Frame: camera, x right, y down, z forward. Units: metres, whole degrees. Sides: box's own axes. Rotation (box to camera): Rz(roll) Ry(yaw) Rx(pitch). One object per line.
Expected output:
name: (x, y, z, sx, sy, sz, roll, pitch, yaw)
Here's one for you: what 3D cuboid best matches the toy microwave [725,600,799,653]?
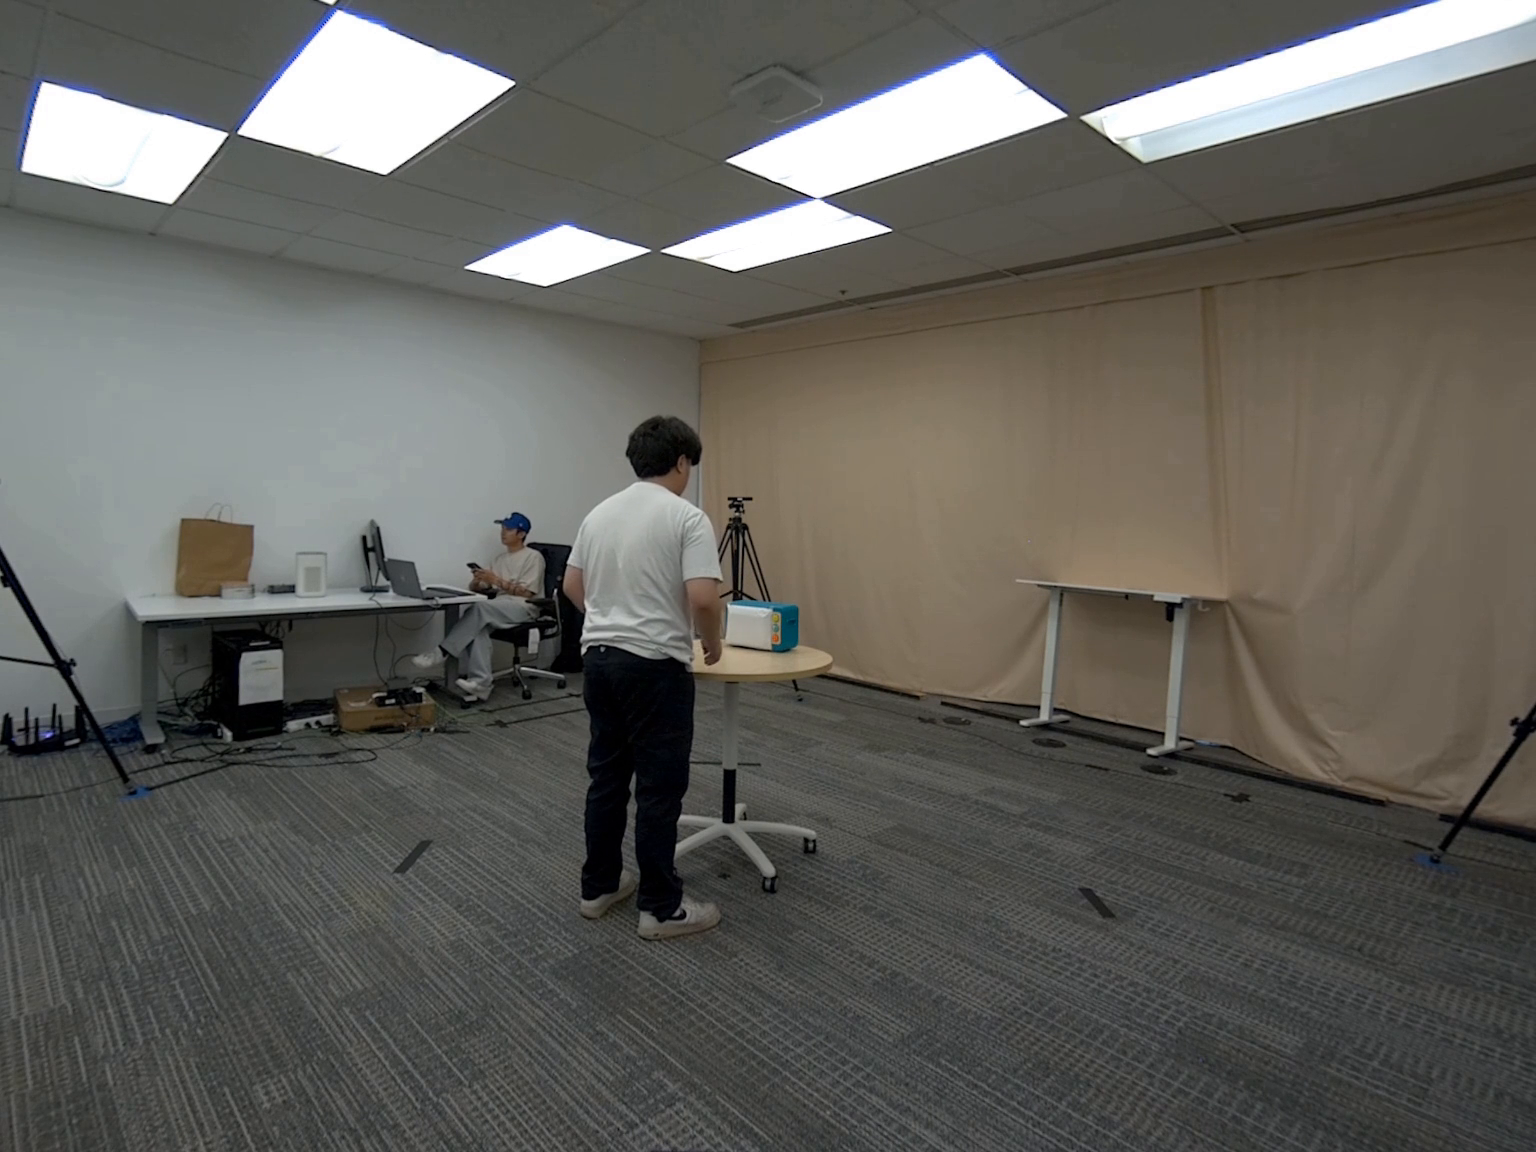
toy microwave: (-0.039, 0.201, 3.400, 0.293, 0.184, 0.149, 4, 5, 33)
